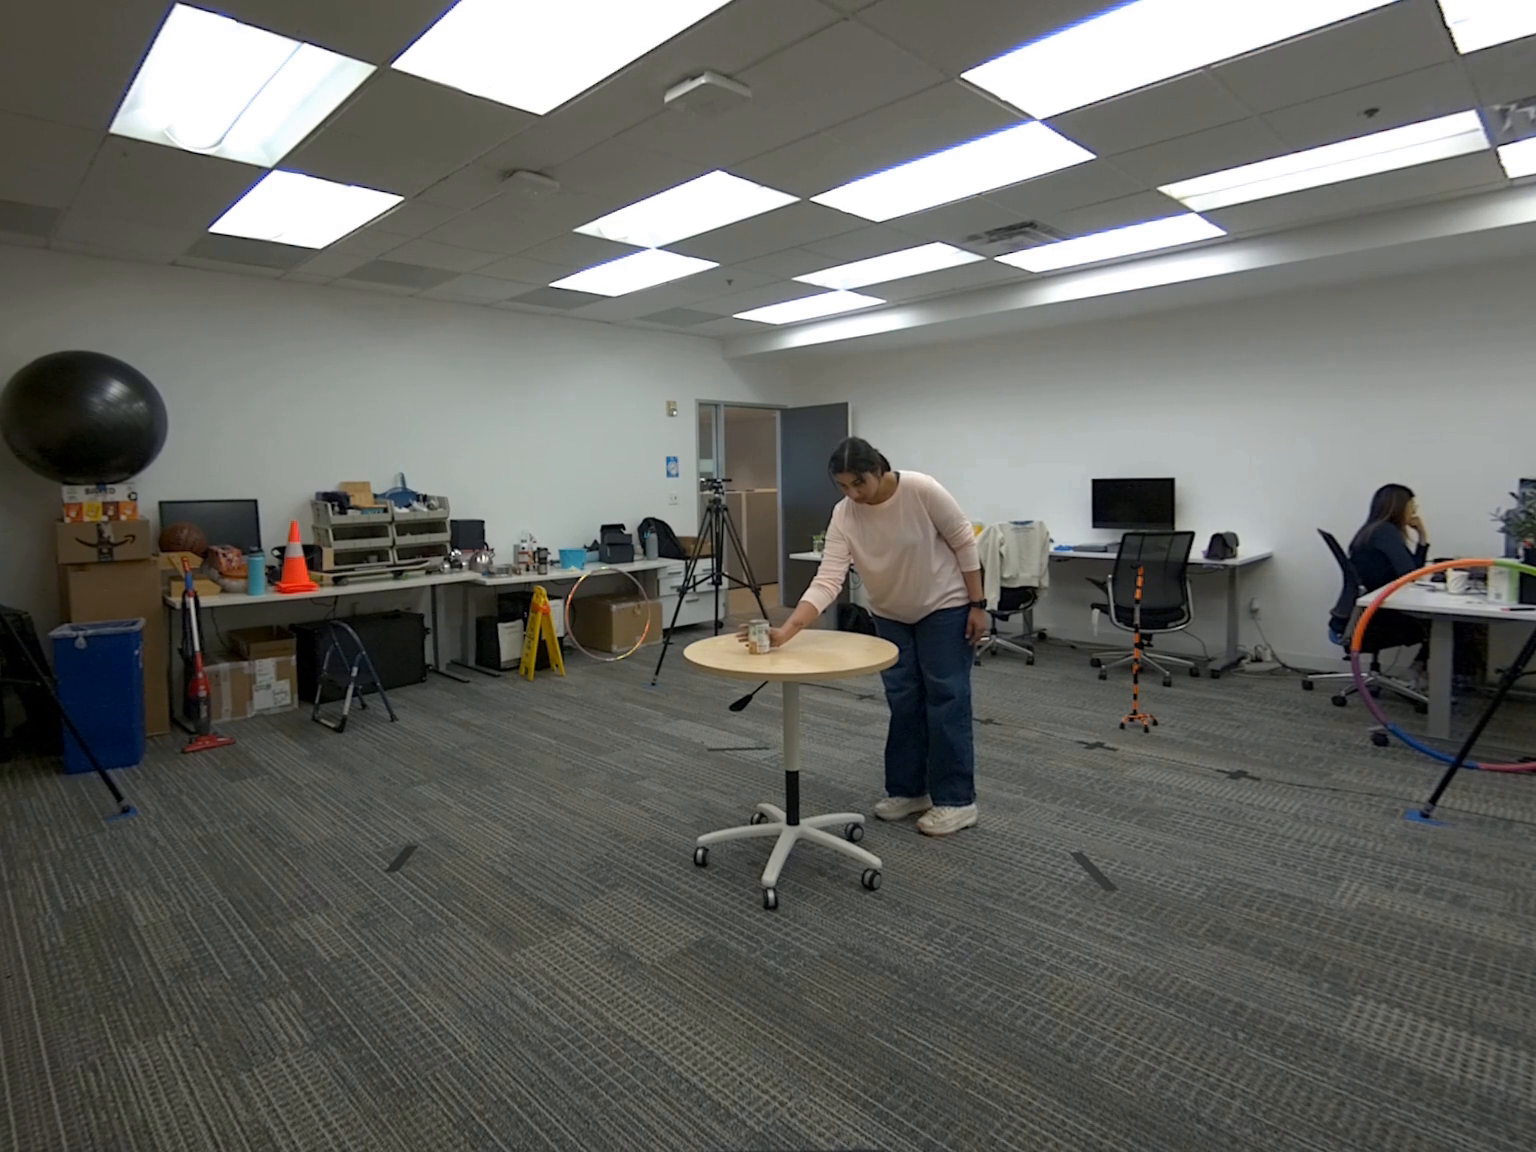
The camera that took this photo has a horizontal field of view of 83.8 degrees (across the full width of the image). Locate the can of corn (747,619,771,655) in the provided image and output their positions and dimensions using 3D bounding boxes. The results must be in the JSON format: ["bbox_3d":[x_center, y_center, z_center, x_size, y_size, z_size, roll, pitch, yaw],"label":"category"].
[{"bbox_3d":[-0.028,0.215,3.015,0.074,0.111,0.074,0,3,-2],"label":"can of corn"}]
